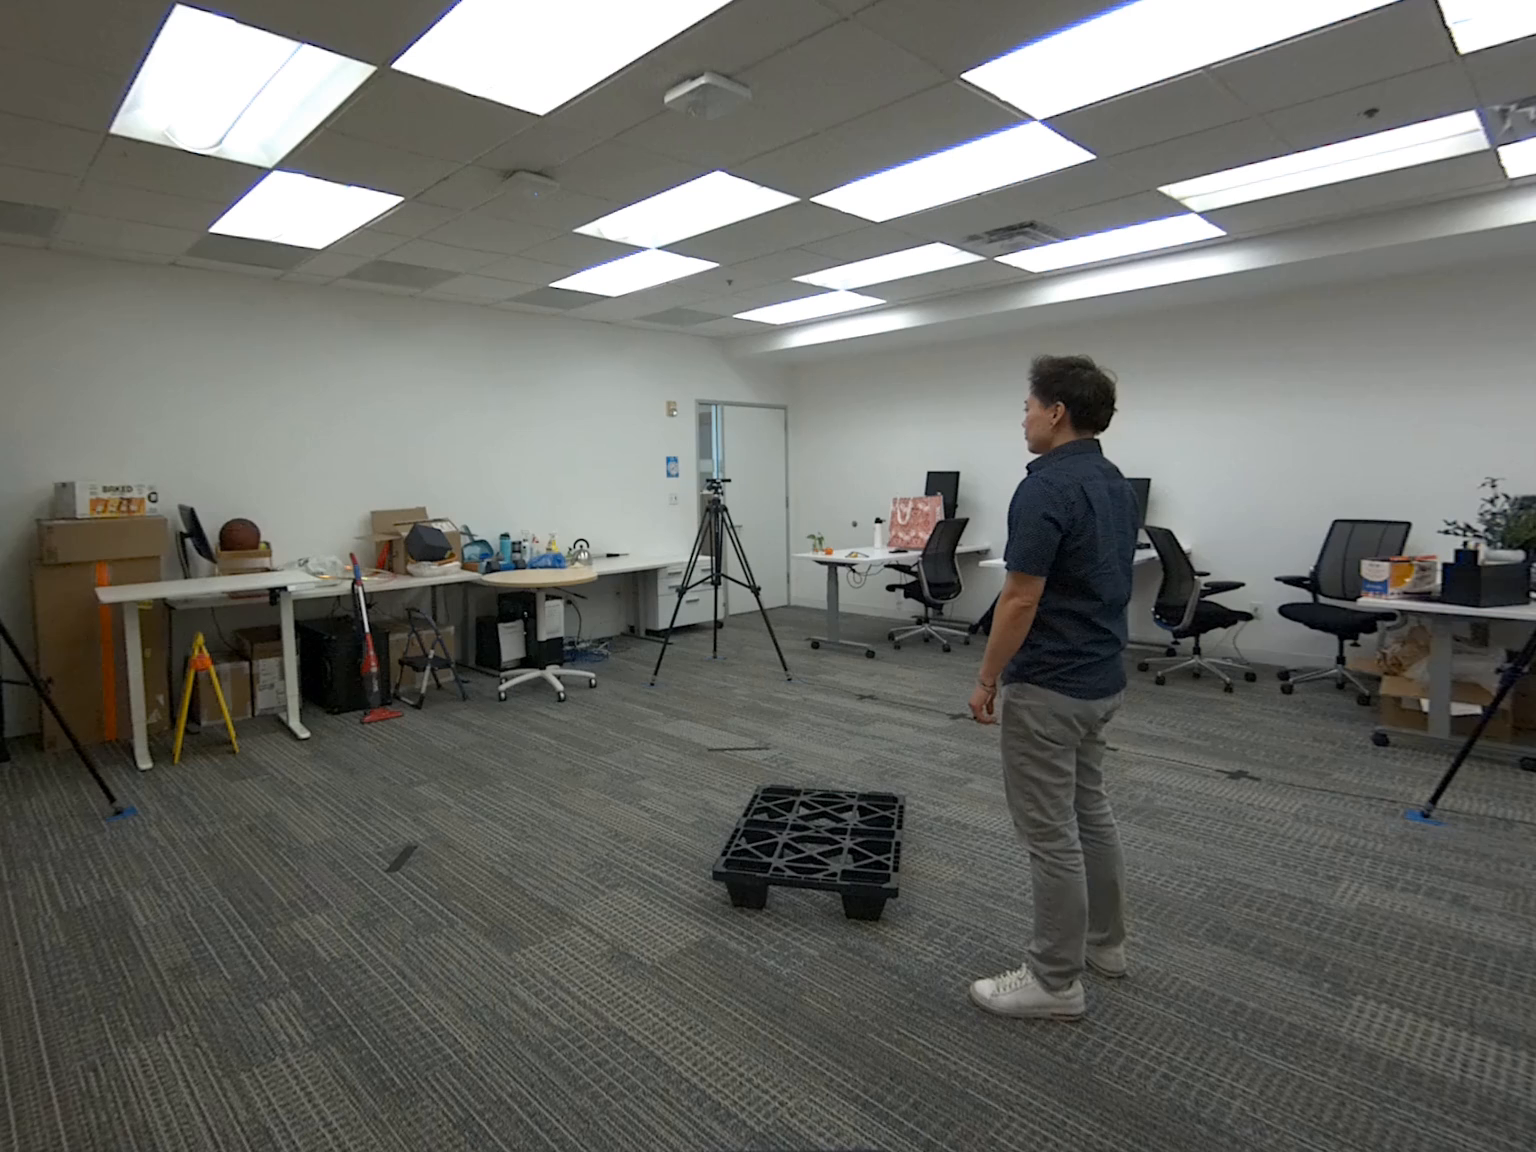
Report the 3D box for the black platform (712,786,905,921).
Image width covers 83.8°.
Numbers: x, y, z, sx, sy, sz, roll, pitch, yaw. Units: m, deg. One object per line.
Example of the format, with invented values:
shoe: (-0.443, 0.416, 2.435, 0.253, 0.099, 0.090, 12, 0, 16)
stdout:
black platform: (0.185, 0.976, 3.083, 0.613, 0.142, 0.799, 0, 6, 12)
